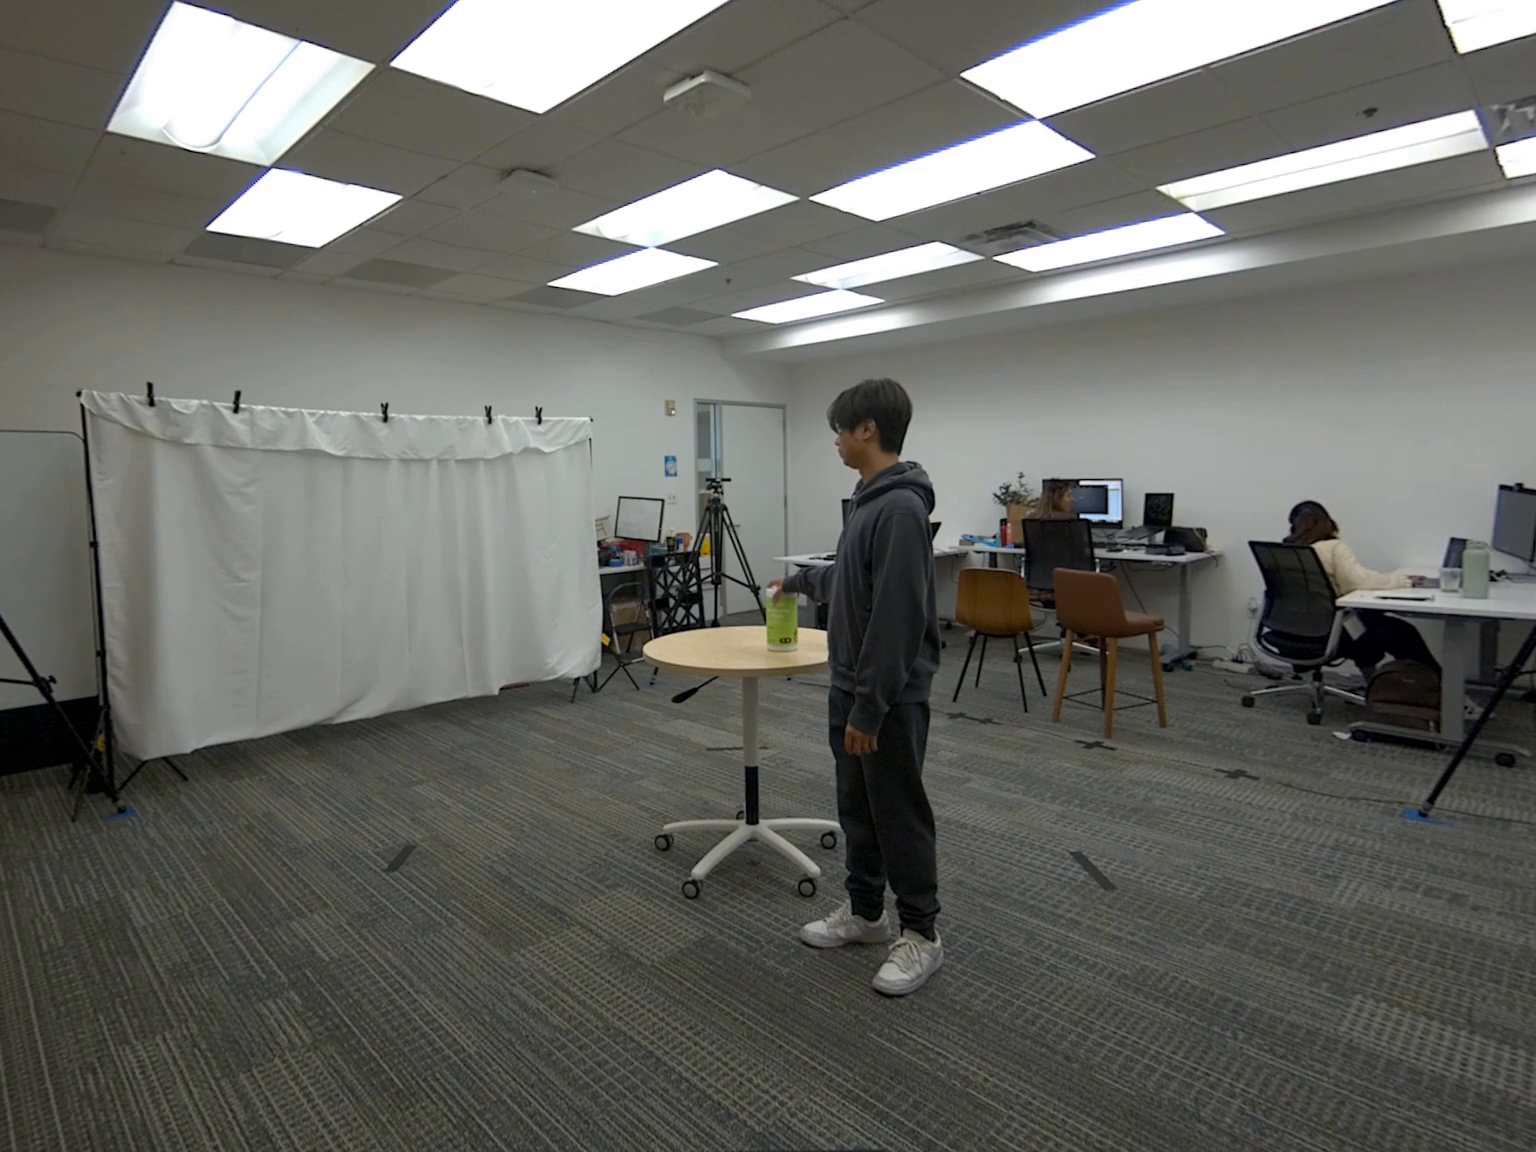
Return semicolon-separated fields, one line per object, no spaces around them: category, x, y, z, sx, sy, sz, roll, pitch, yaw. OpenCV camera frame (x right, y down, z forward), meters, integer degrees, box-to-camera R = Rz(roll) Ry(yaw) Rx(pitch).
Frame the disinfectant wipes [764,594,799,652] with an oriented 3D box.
disinfectant wipes;0.049;0.151;2.992;0.118;0.216;0.118;1;6;-2
